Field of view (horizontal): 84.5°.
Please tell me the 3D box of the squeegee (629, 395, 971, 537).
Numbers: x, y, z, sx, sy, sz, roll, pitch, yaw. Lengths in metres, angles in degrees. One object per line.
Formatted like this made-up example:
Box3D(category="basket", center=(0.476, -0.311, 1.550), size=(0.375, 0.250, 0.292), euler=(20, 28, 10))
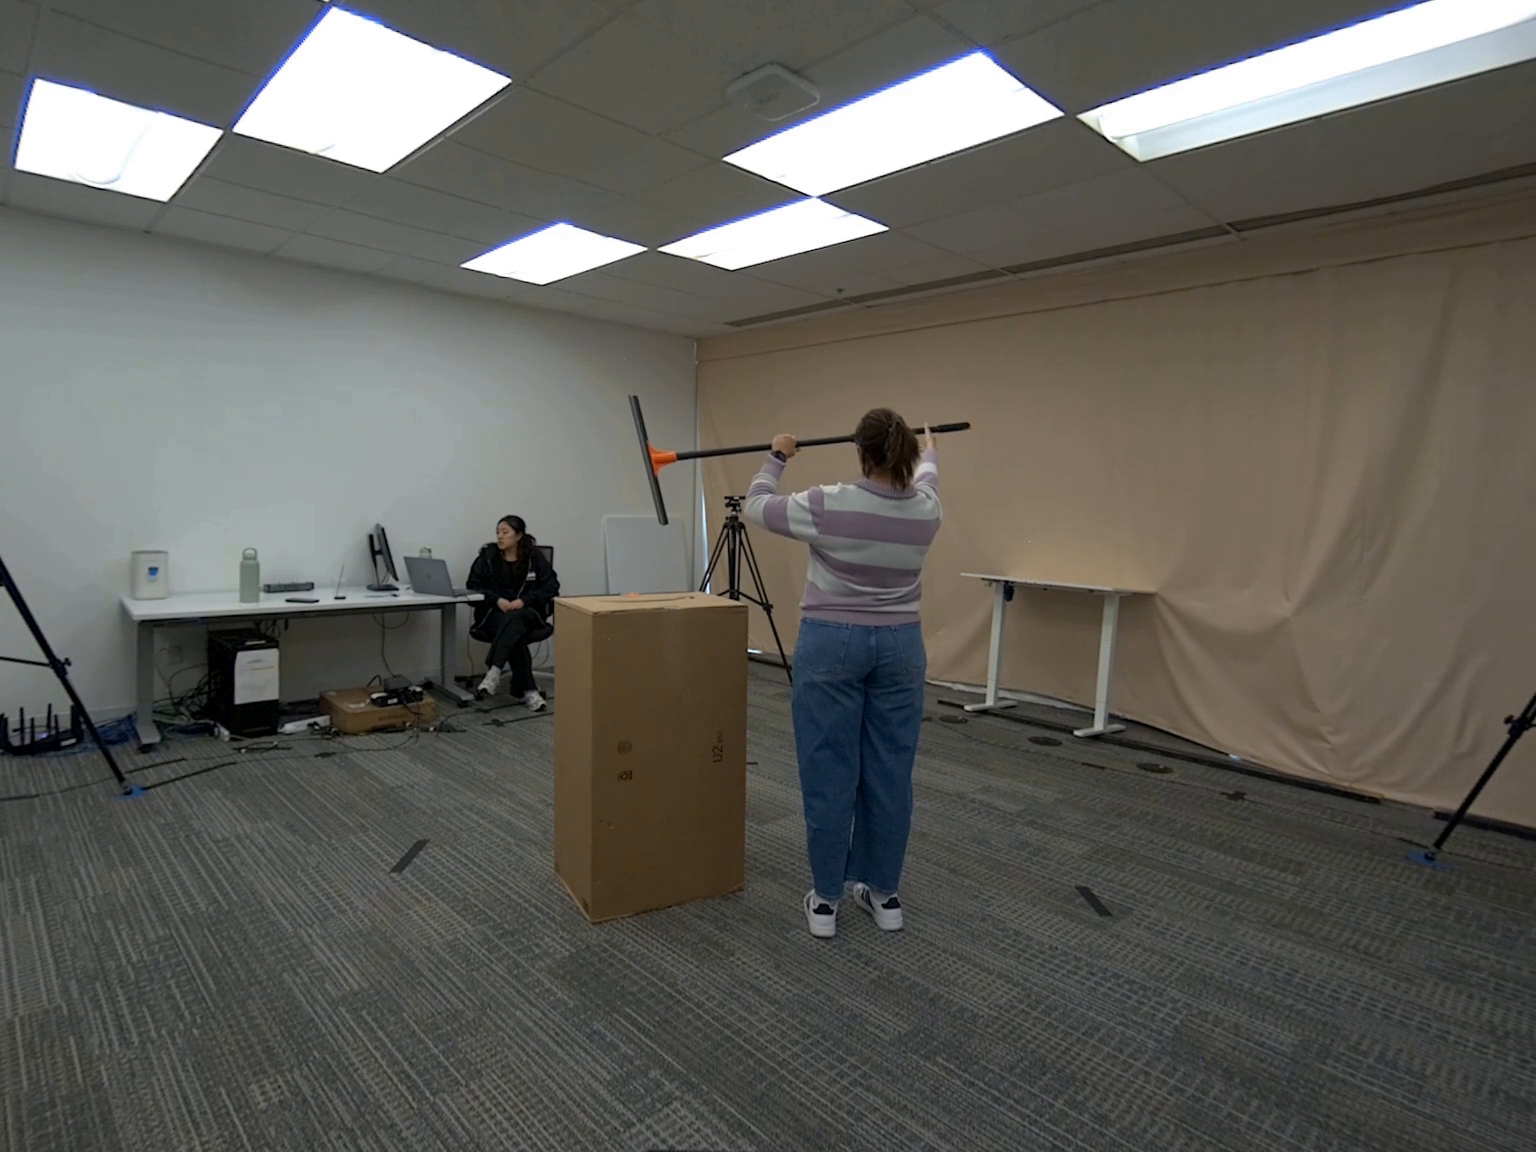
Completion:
Box3D(category="squeegee", center=(0.216, -0.488, 3.094), size=(1.510, 0.440, 0.053), euler=(-11, -8, -33))
